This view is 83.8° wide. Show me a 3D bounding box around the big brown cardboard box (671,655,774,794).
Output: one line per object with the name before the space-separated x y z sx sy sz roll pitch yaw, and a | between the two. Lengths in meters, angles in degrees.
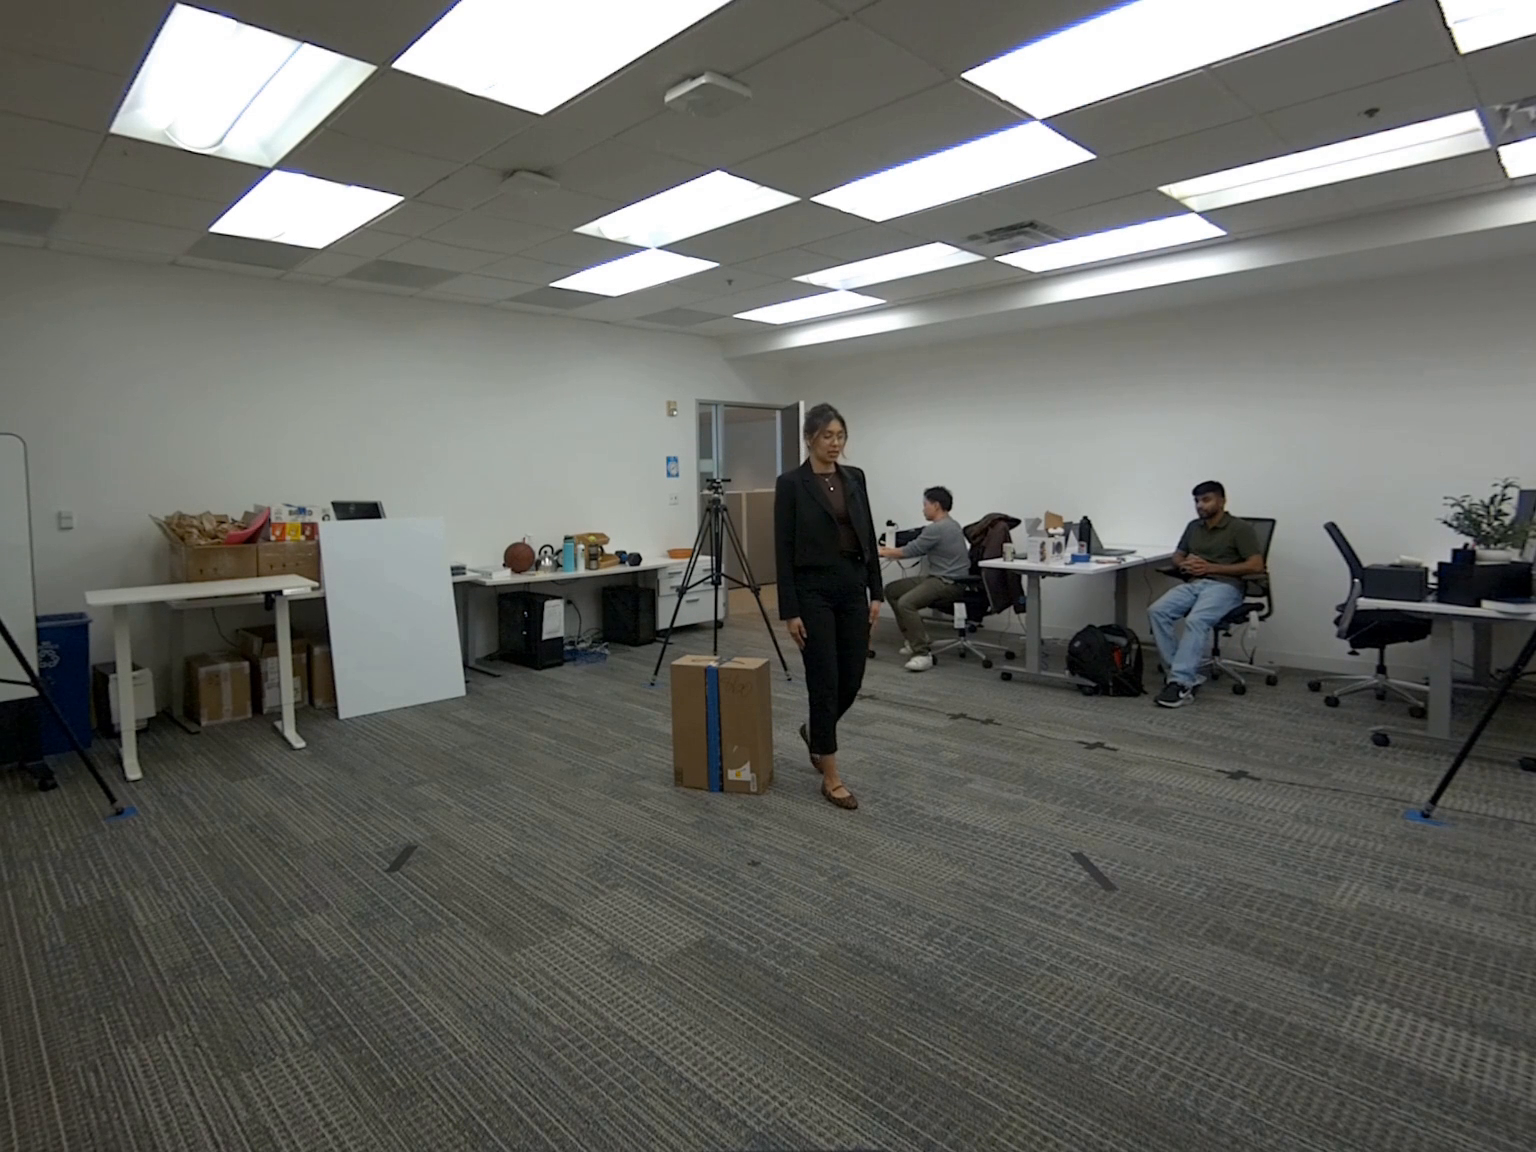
big brown cardboard box | -0.209 0.676 3.931 0.425 0.588 0.229 -1 2 20
